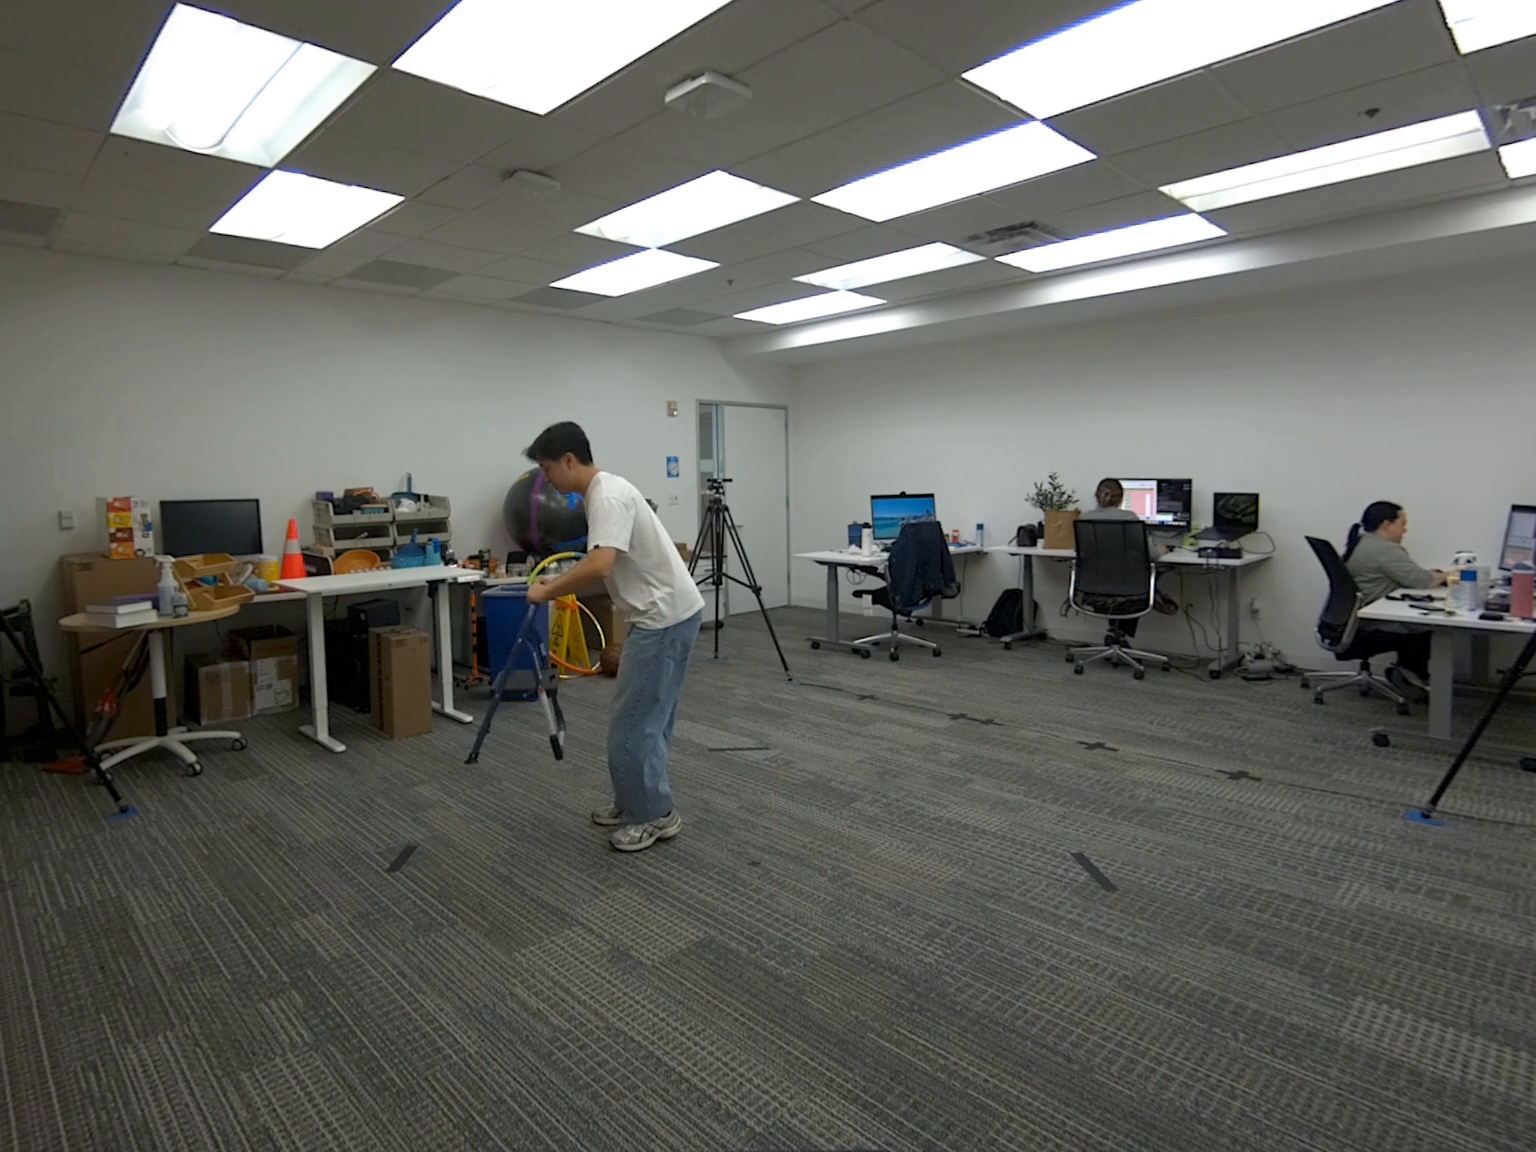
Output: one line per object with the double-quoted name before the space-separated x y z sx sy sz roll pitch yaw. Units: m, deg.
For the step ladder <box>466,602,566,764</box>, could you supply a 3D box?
"step ladder" -0.947 0.362 3.294 0.346 0.606 0.435 1 1 -11
